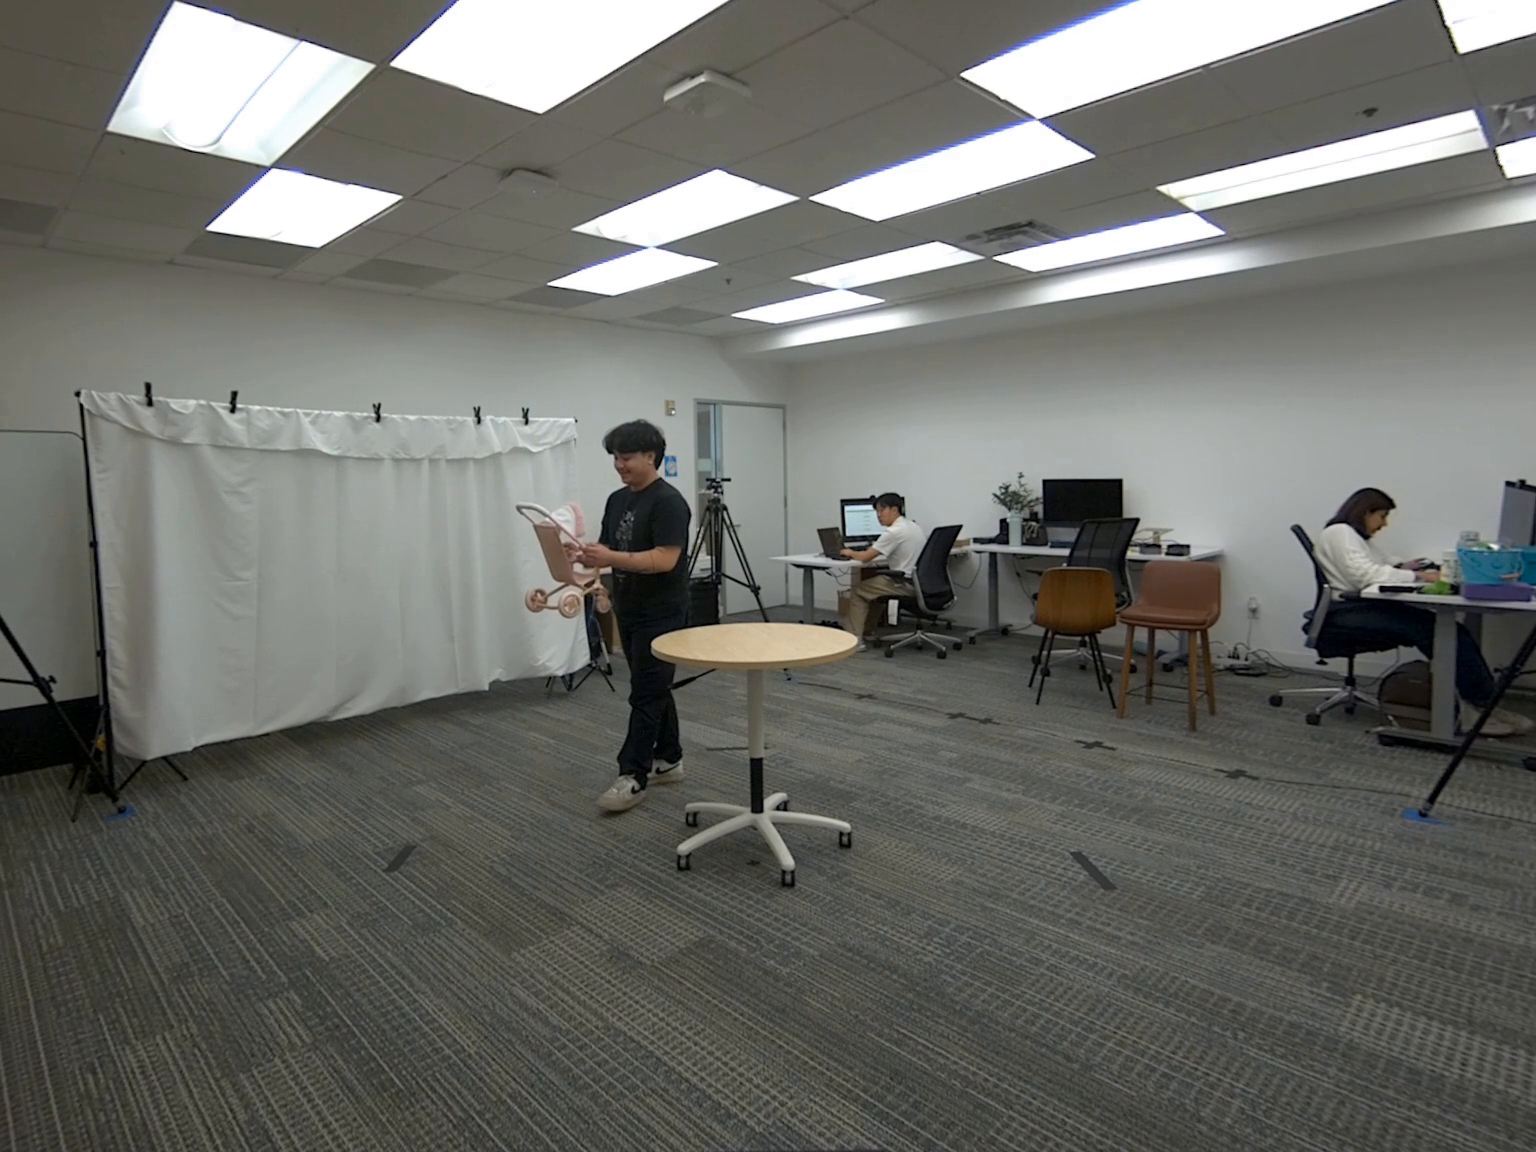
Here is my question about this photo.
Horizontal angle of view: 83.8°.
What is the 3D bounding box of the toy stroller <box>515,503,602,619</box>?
[{"bbox_3d":[-0.830,-0.068,3.566,0.334,0.530,0.290,-15,11,-40],"label":"toy stroller"}]
